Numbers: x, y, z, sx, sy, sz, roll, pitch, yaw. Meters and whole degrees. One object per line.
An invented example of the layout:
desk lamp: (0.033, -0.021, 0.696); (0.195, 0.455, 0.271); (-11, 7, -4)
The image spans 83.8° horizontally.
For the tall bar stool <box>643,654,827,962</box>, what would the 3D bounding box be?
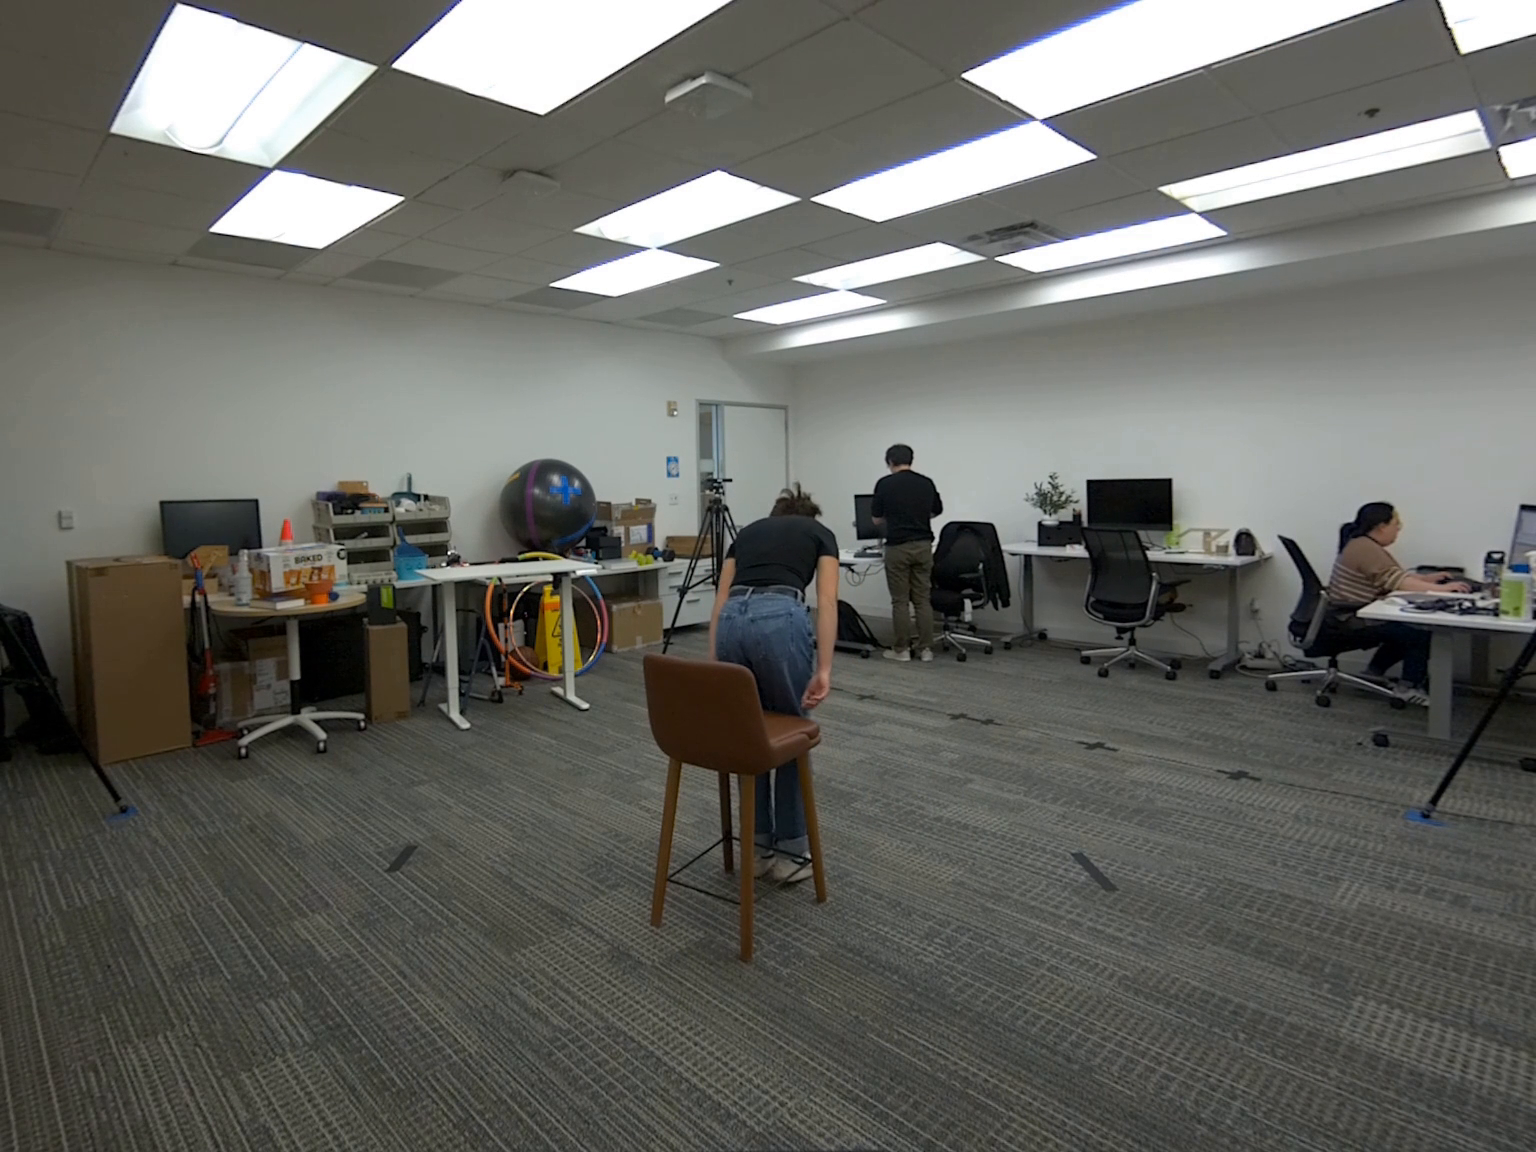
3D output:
tall bar stool: (-0.108, 0.660, 2.728); (0.469, 0.885, 0.457); (2, 7, 35)
